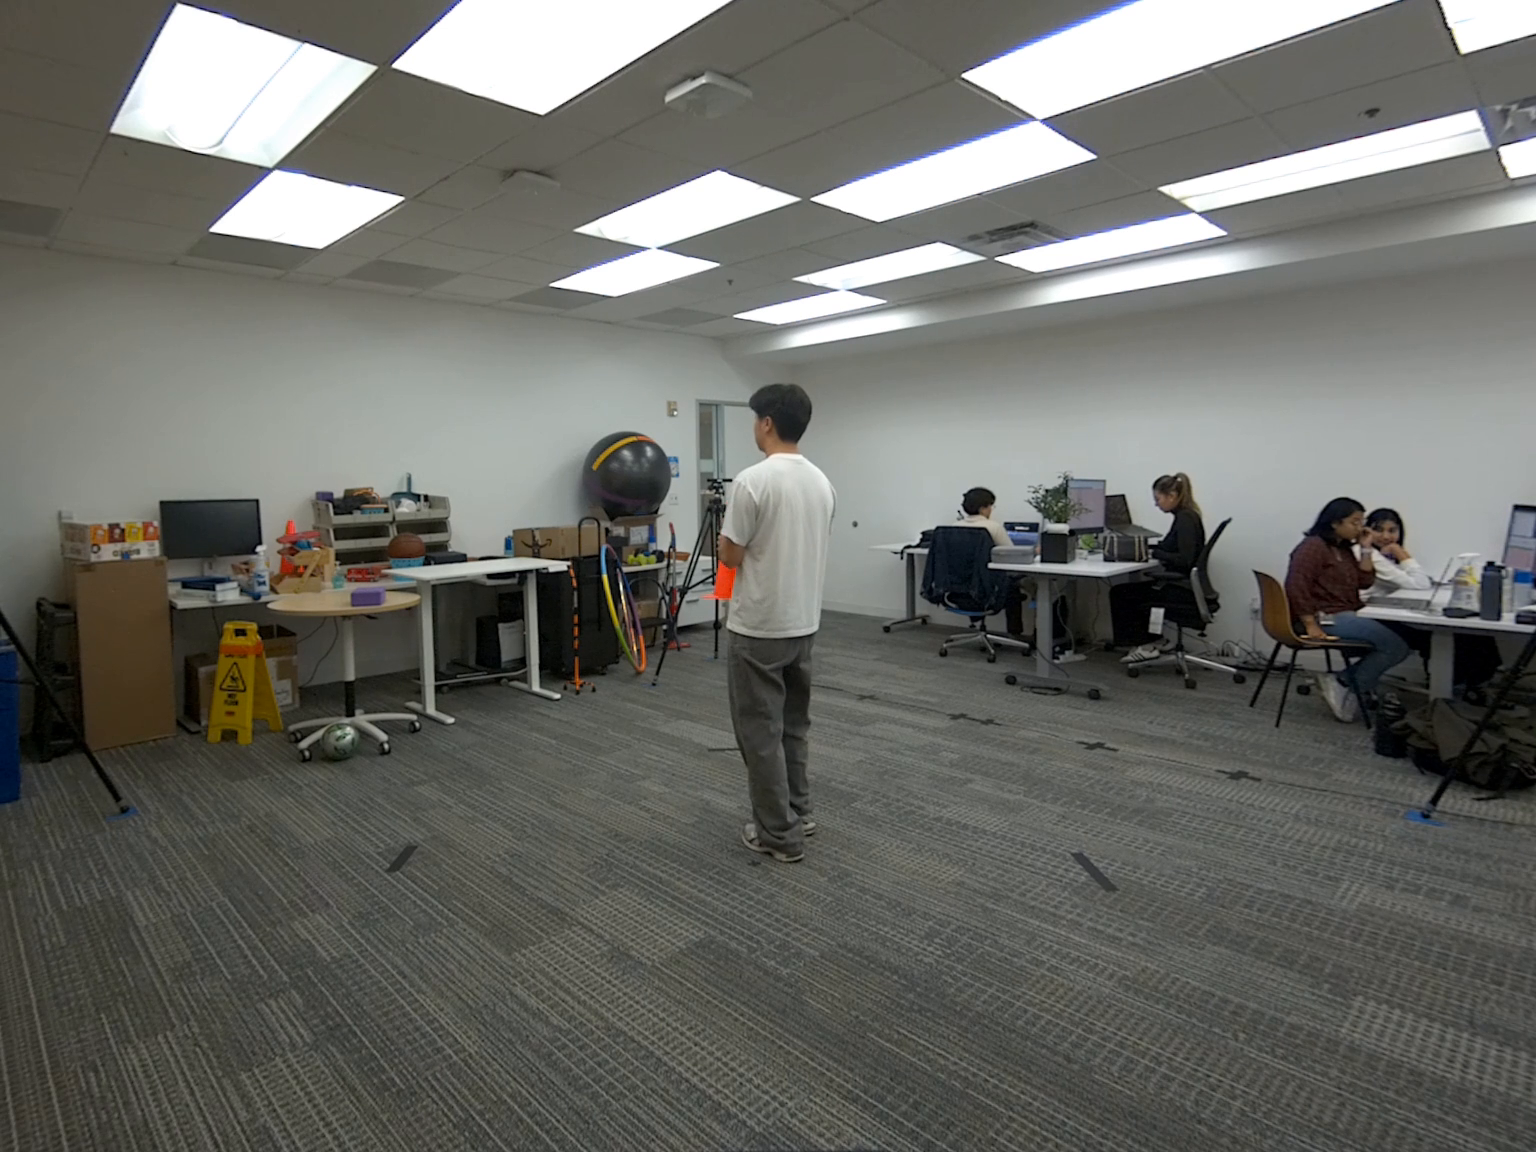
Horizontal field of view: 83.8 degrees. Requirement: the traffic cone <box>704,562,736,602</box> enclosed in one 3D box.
[{"bbox_3d":[-0.119,-0.105,3.463,0.200,0.382,0.209,0,7,-25],"label":"traffic cone"}]
